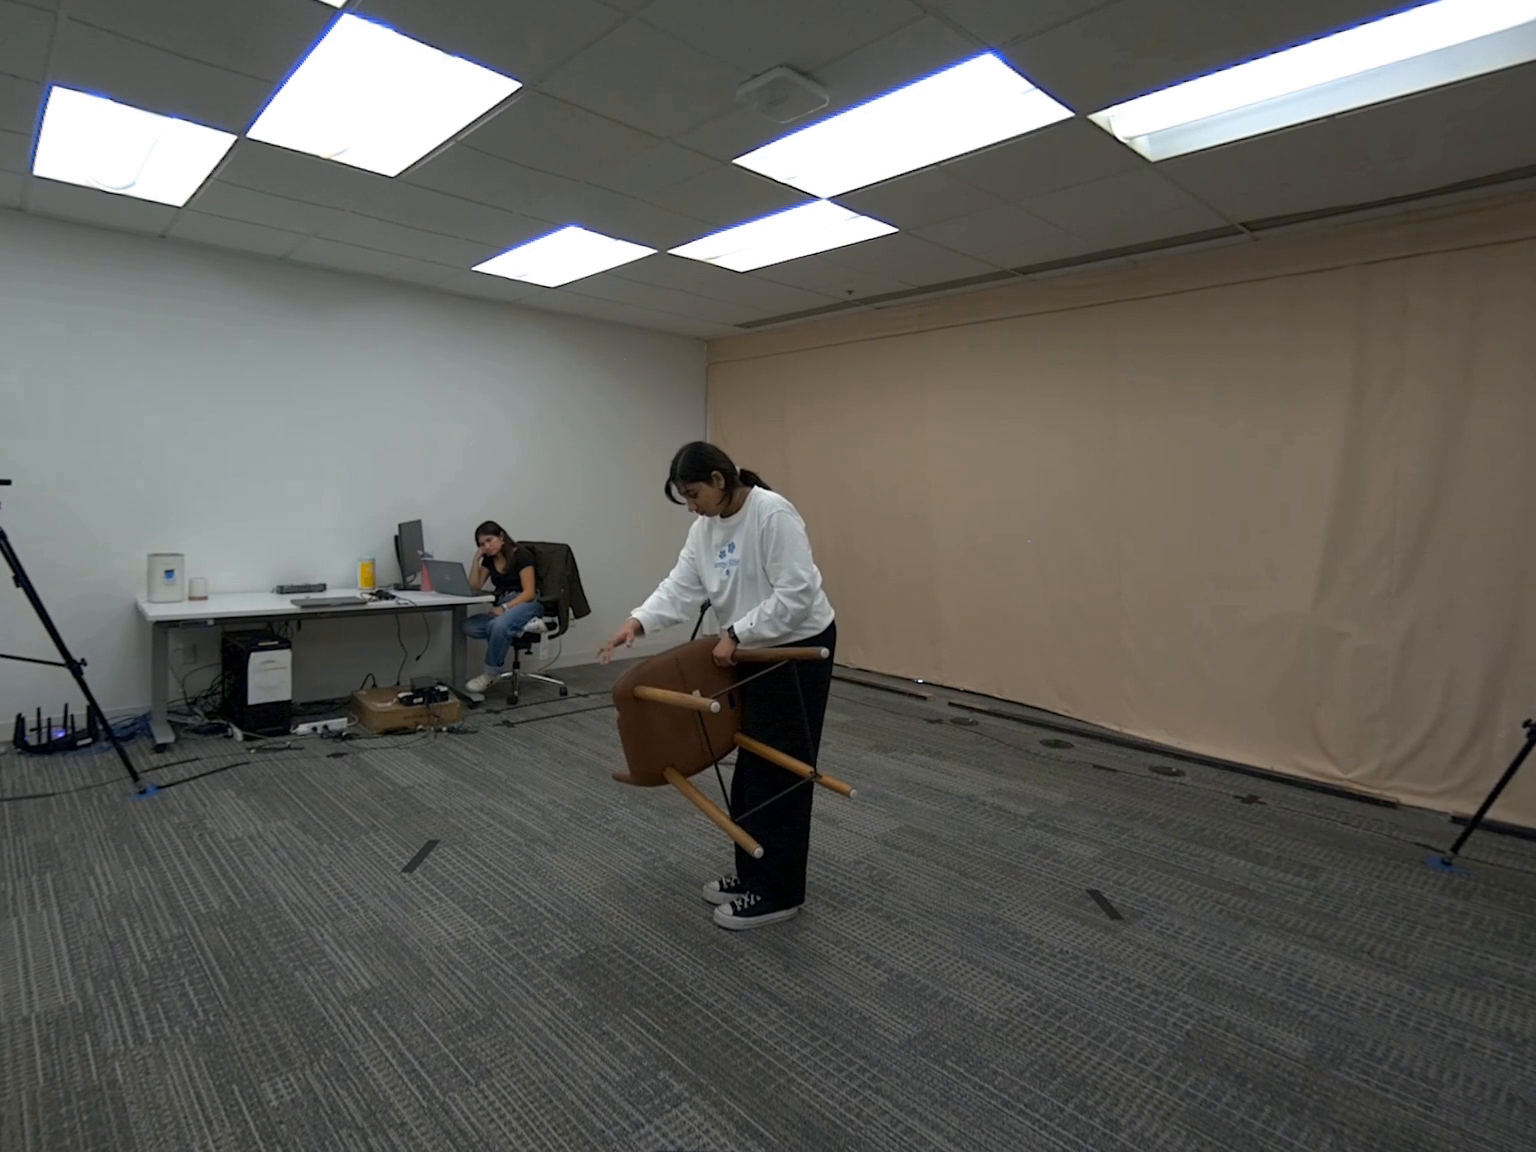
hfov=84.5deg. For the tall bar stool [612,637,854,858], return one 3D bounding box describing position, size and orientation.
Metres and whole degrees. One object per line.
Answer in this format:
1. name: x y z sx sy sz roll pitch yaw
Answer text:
1. tall bar stool: -0.204 0.474 2.630 0.450 0.463 0.909 -21 13 -32
